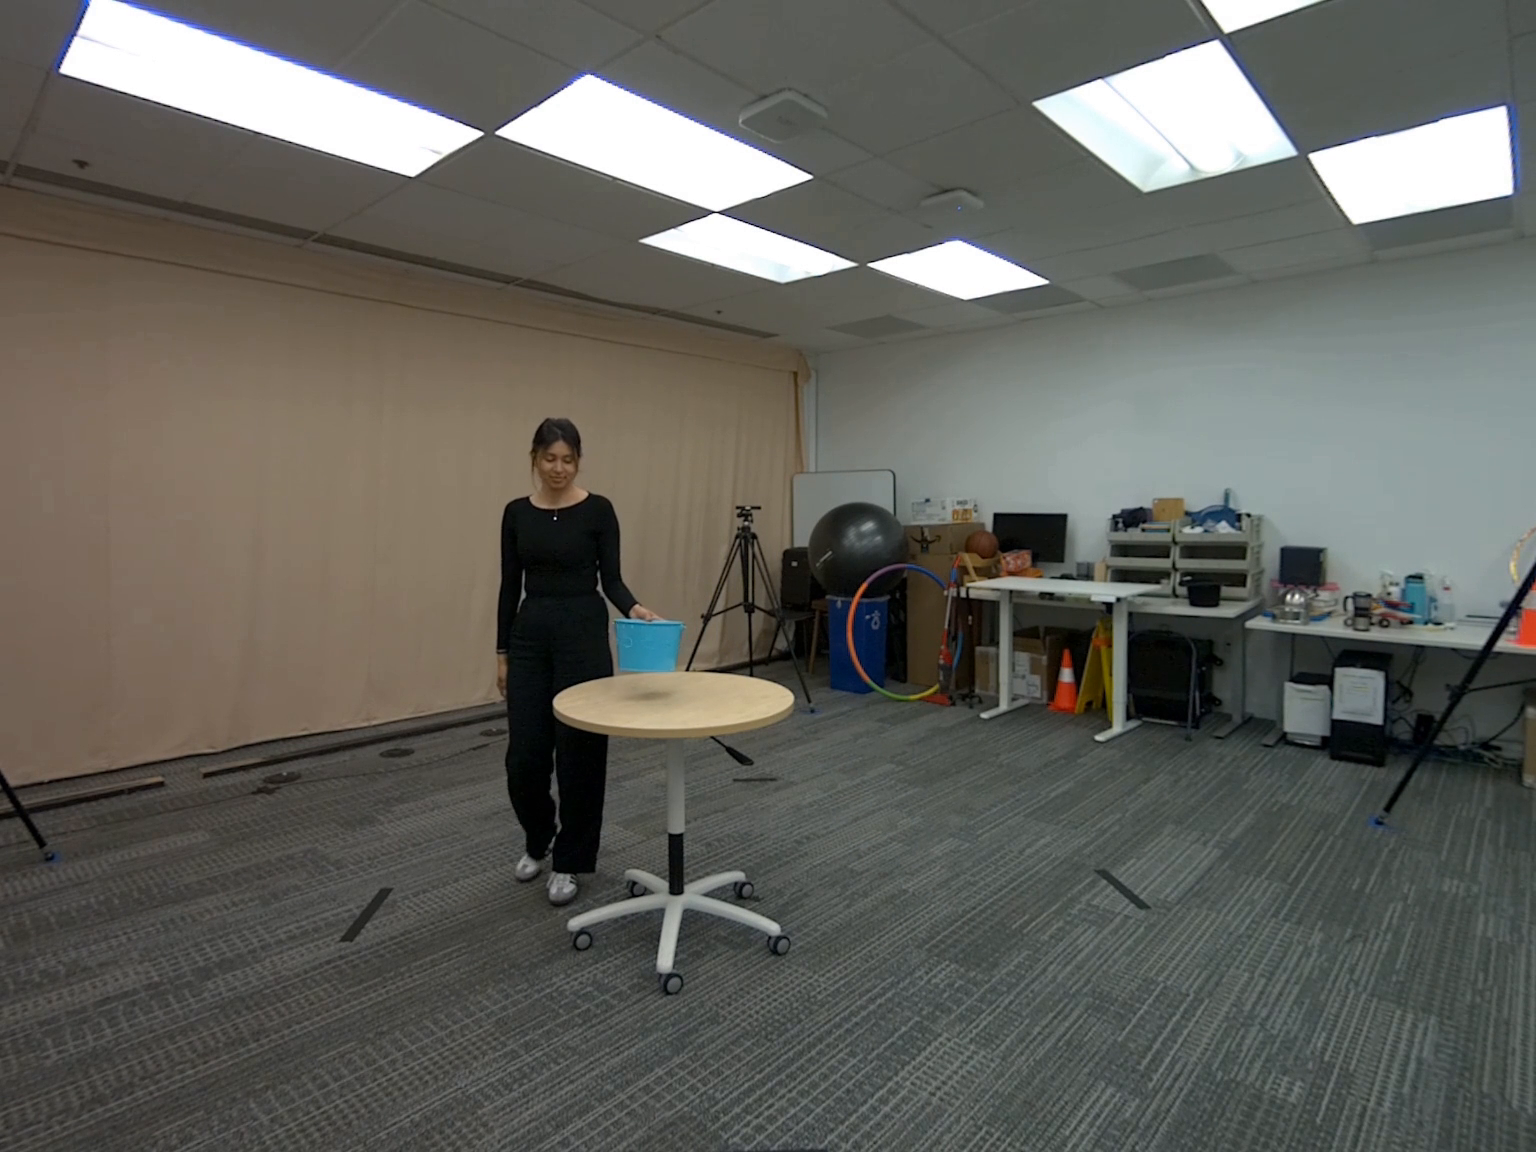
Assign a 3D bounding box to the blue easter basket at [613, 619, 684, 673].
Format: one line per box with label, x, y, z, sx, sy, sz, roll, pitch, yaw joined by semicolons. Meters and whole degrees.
blue easter basket;-0.377;0.223;2.688;0.243;0.156;0.244;2;-1;-2
